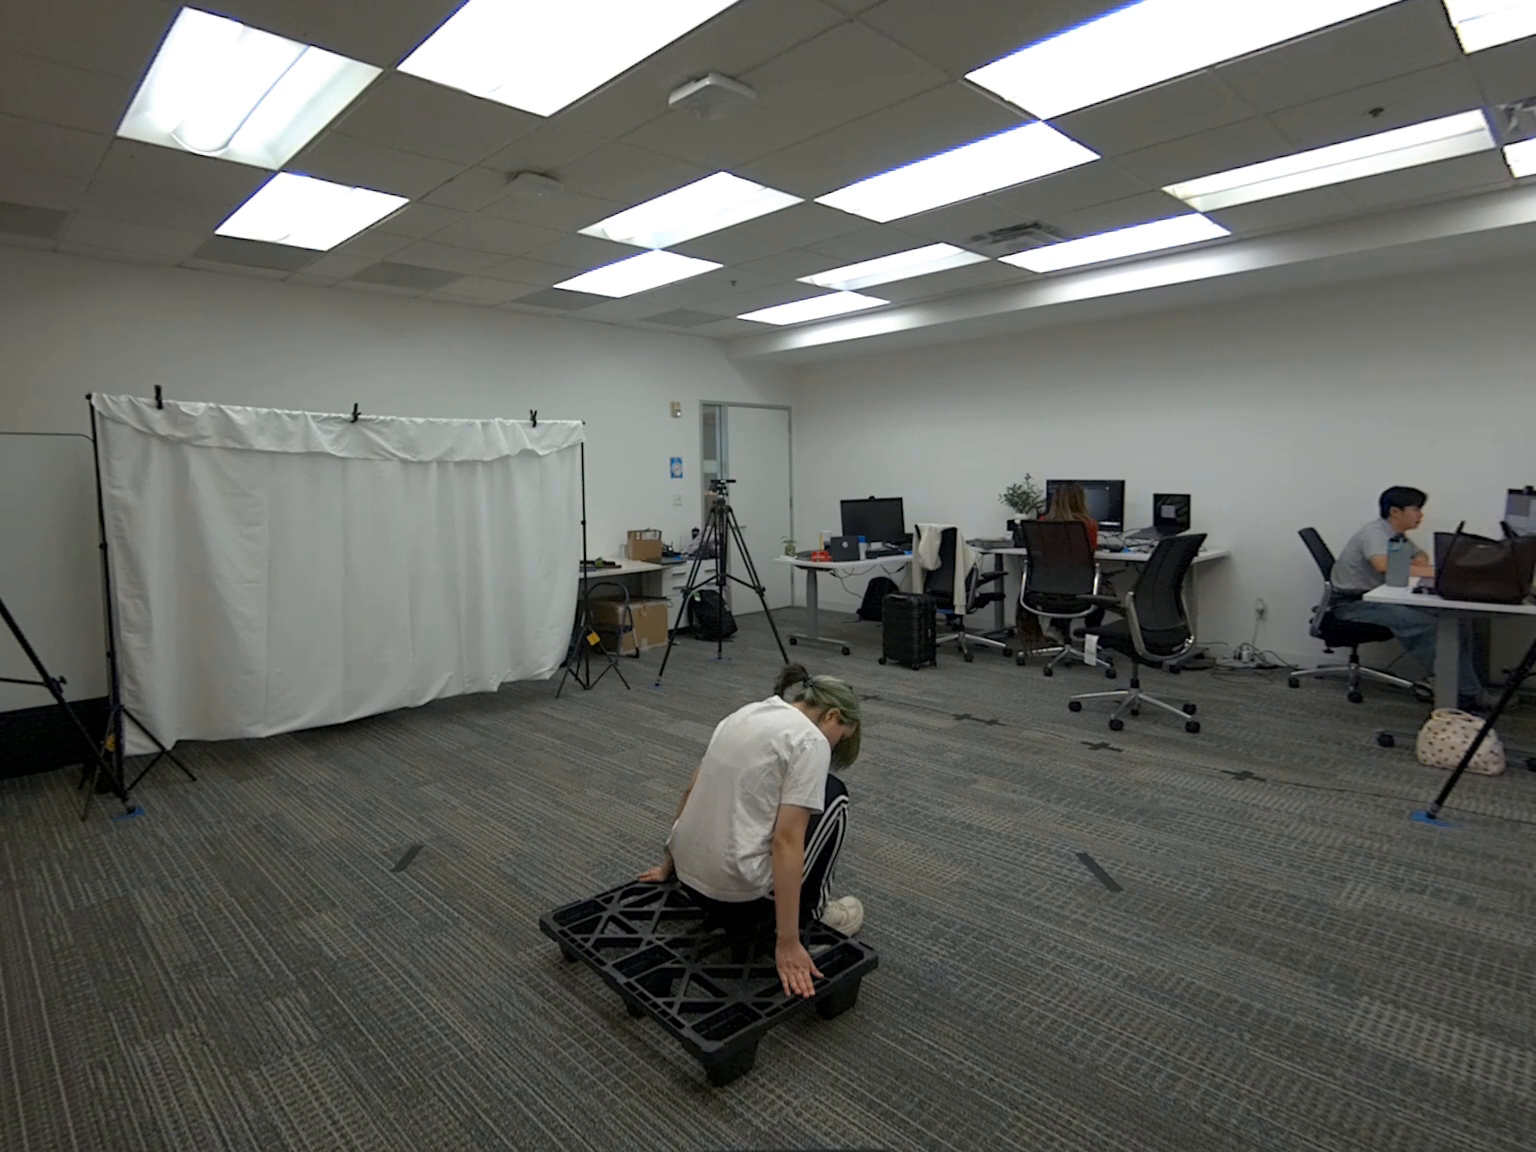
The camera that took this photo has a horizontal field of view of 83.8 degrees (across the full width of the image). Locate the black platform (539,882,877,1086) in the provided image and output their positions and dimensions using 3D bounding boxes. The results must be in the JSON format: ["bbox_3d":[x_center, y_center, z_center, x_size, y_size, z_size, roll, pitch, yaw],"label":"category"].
[{"bbox_3d":[-0.184,1.068,2.399,0.589,0.143,0.831,-6,8,-41],"label":"black platform"}]
